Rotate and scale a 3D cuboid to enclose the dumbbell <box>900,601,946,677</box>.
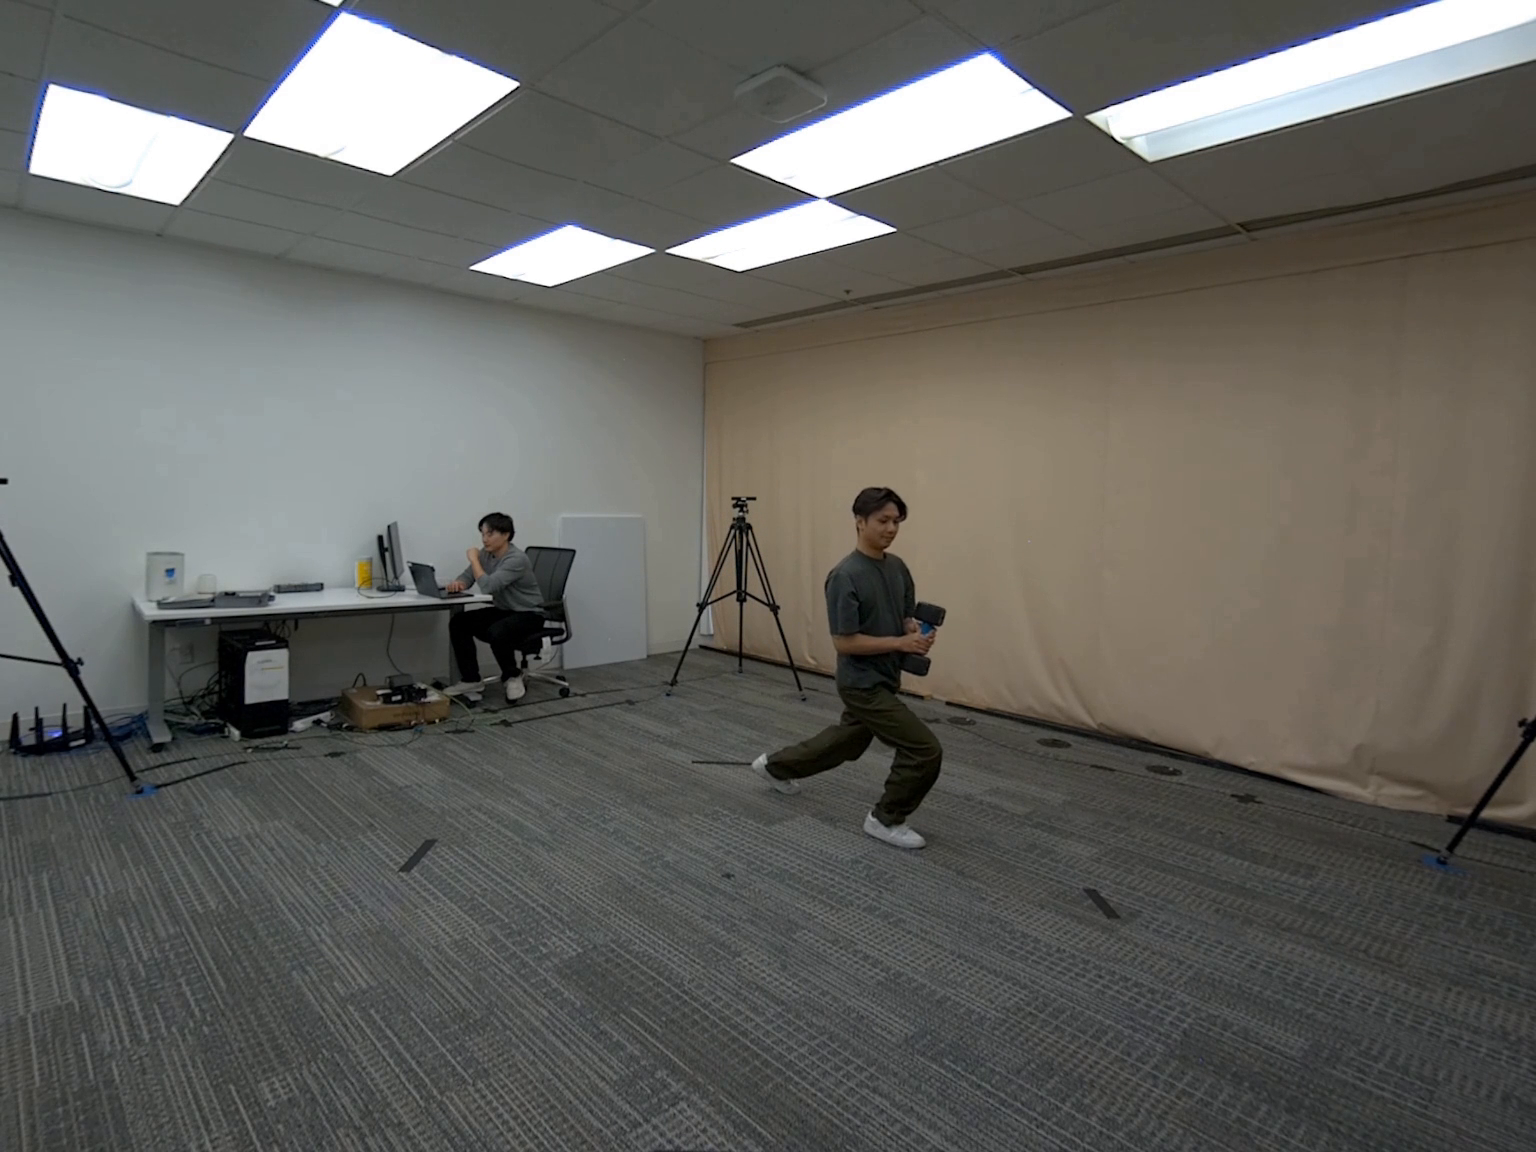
[{"bbox_3d":[0.620,0.243,3.437,0.124,0.293,0.108,17,2,8],"label":"dumbbell"}]
